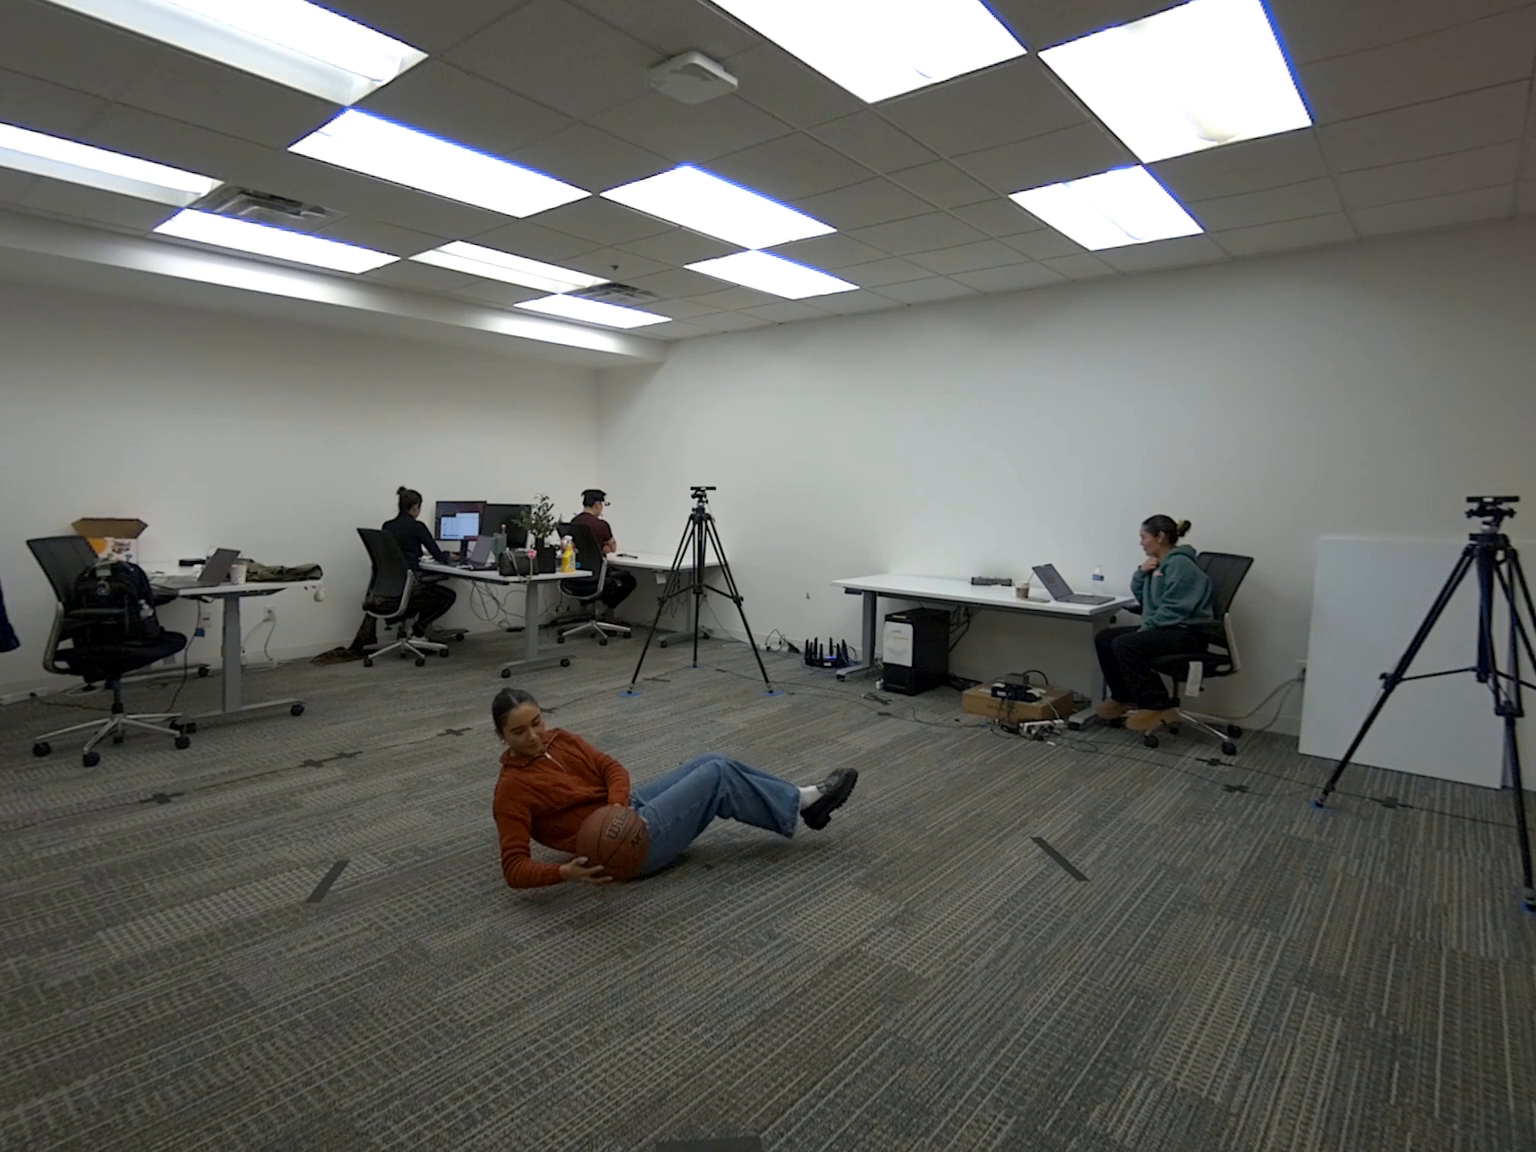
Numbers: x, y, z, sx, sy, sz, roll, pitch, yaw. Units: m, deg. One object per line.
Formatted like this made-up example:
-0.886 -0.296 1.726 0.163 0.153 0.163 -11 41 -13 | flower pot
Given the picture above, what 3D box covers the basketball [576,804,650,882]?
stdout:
-0.506 0.856 2.764 0.235 0.235 0.237 1 4 -2 | basketball
